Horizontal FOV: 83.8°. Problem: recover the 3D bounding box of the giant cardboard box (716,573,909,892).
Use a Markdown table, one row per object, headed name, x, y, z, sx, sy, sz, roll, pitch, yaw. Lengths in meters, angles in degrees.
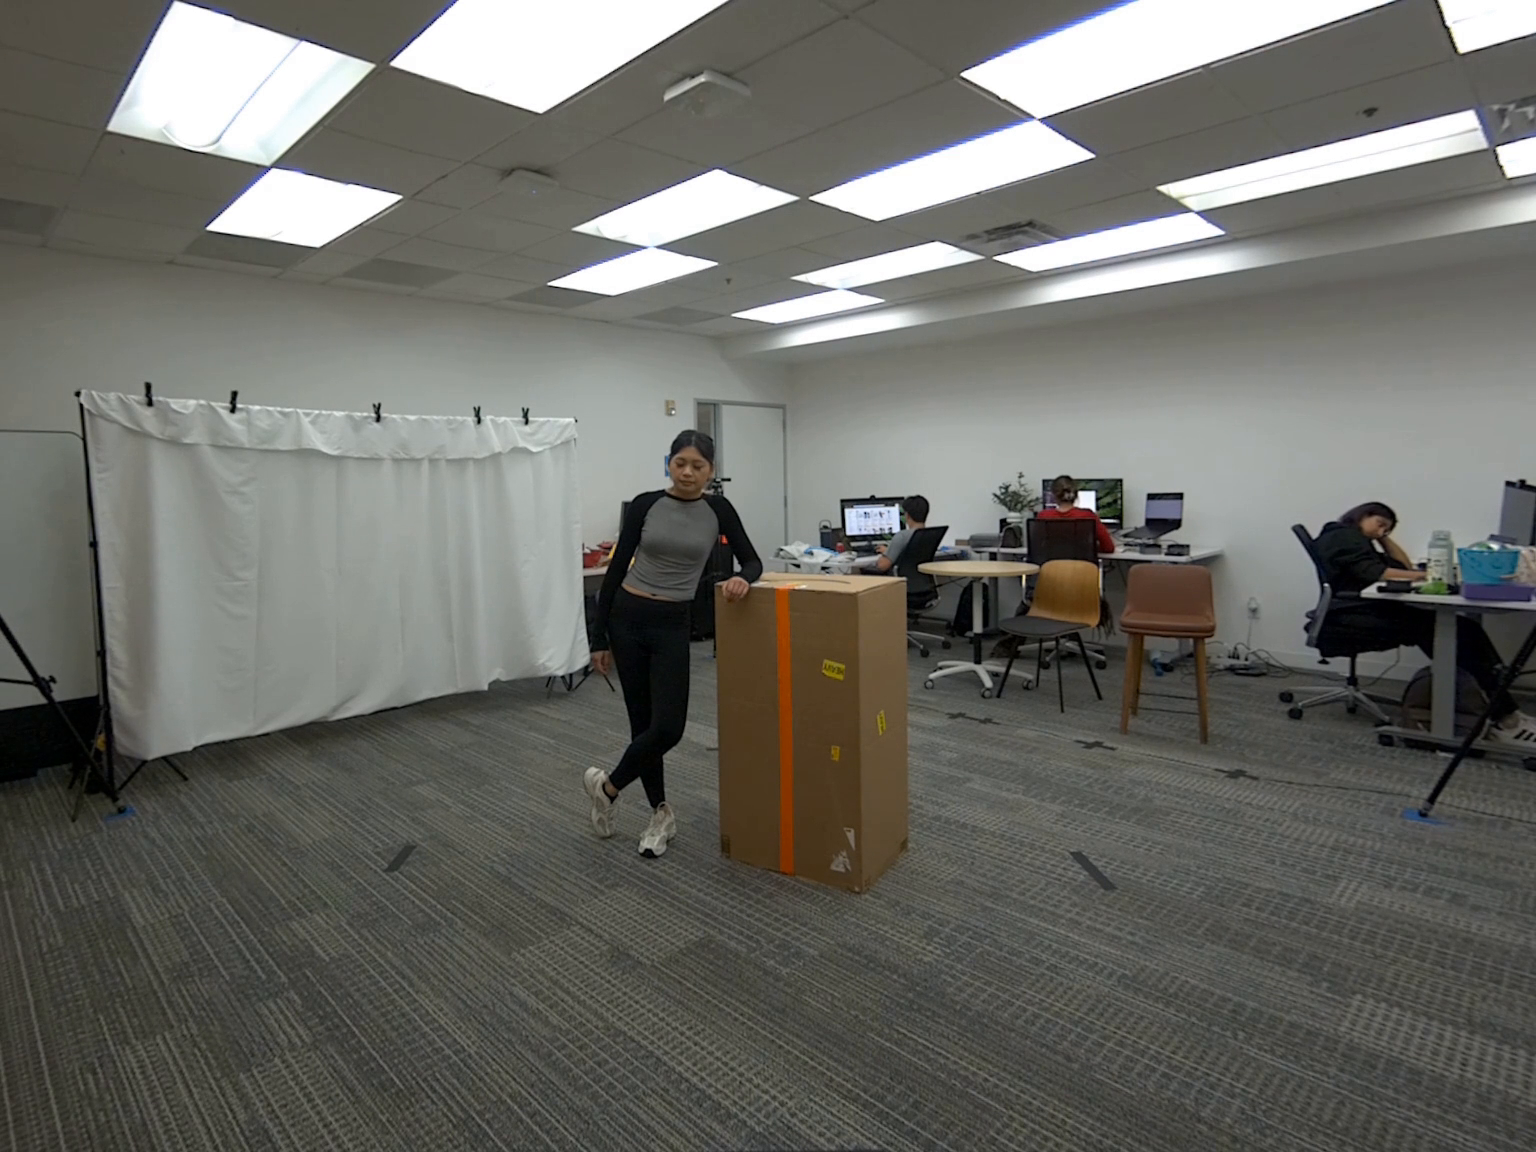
| name | x | y | z | sx | sy | sz | roll | pitch | yaw |
| --- | --- | --- | --- | --- | --- | --- | --- | --- | --- |
| giant cardboard box | 0.169 | 0.525 | 3.150 | 0.593 | 1.022 | 0.416 | 1 | 5 | 33 |
